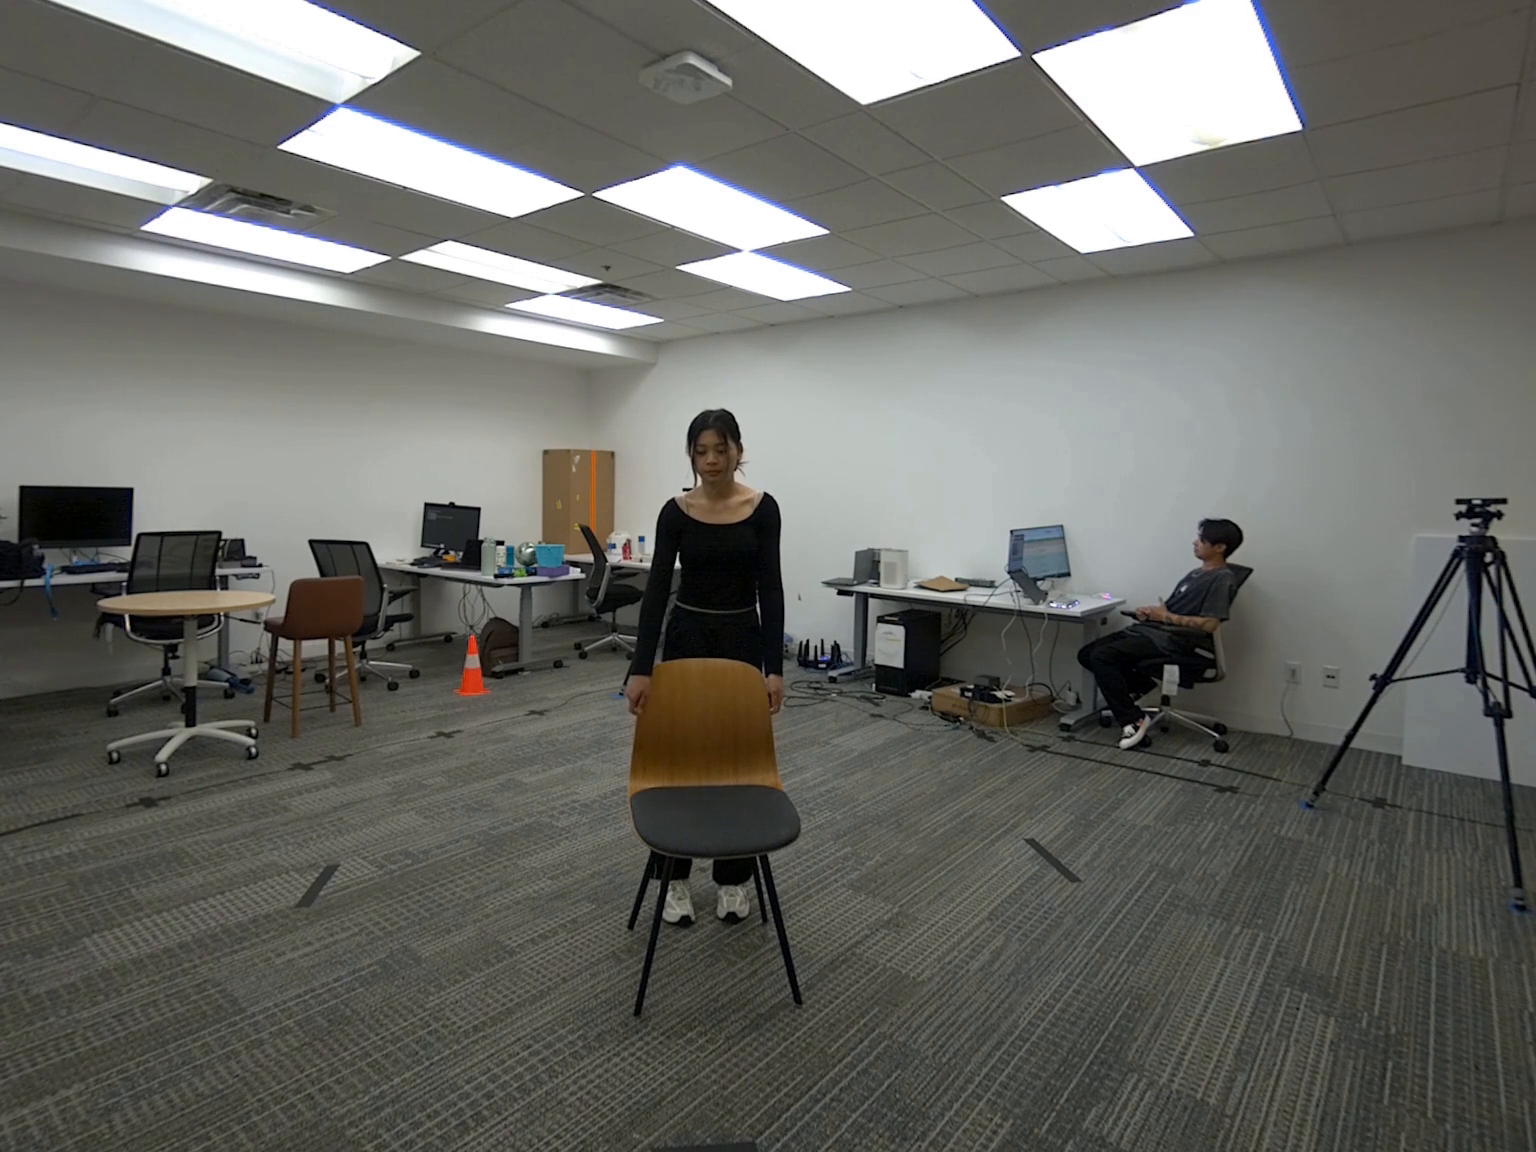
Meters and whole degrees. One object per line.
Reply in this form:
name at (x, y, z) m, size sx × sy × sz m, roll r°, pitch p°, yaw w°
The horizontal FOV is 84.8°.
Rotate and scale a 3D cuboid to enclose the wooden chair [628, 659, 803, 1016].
wooden chair at (-0.166, 0.708, 2.449) m, size 0.473 × 0.878 × 0.528 m, roll 1°, pitch -1°, yaw -10°
